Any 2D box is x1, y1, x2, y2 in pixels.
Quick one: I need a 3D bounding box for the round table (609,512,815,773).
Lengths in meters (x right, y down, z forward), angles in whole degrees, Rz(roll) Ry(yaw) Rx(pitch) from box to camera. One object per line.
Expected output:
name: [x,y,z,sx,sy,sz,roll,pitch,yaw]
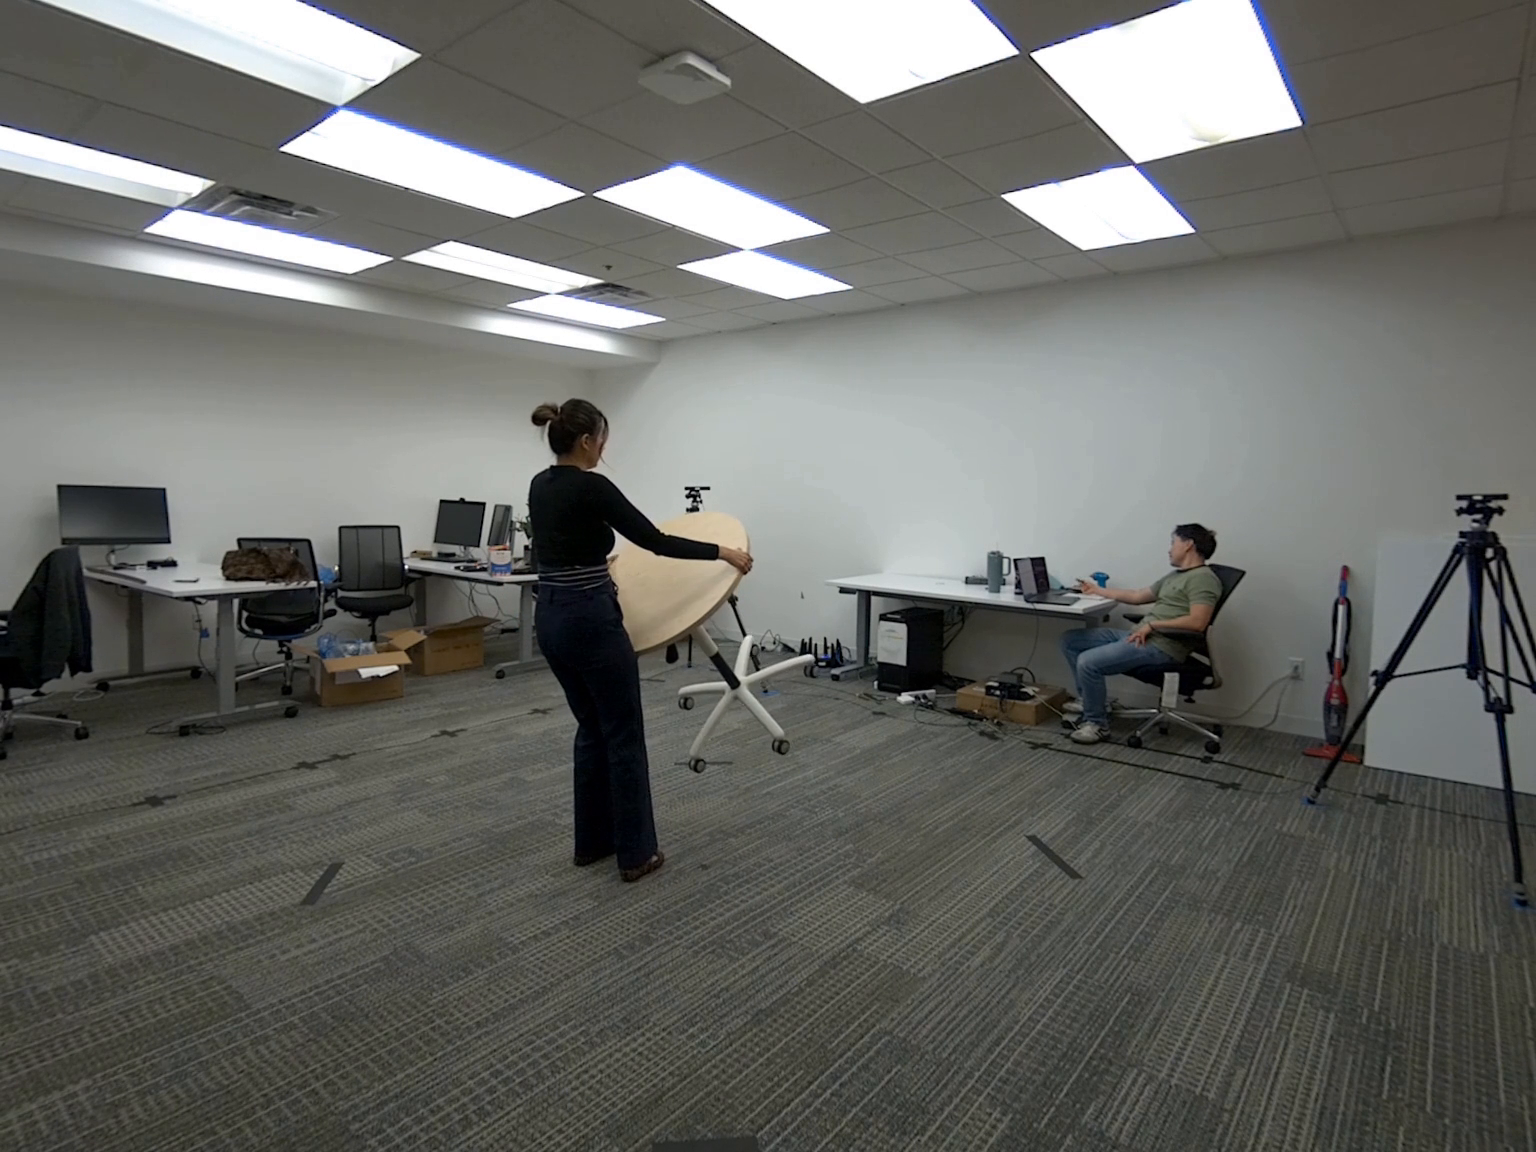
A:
round table: [-0.261,0.288,3.518,0.771,0.765,0.786,-22,34,14]
